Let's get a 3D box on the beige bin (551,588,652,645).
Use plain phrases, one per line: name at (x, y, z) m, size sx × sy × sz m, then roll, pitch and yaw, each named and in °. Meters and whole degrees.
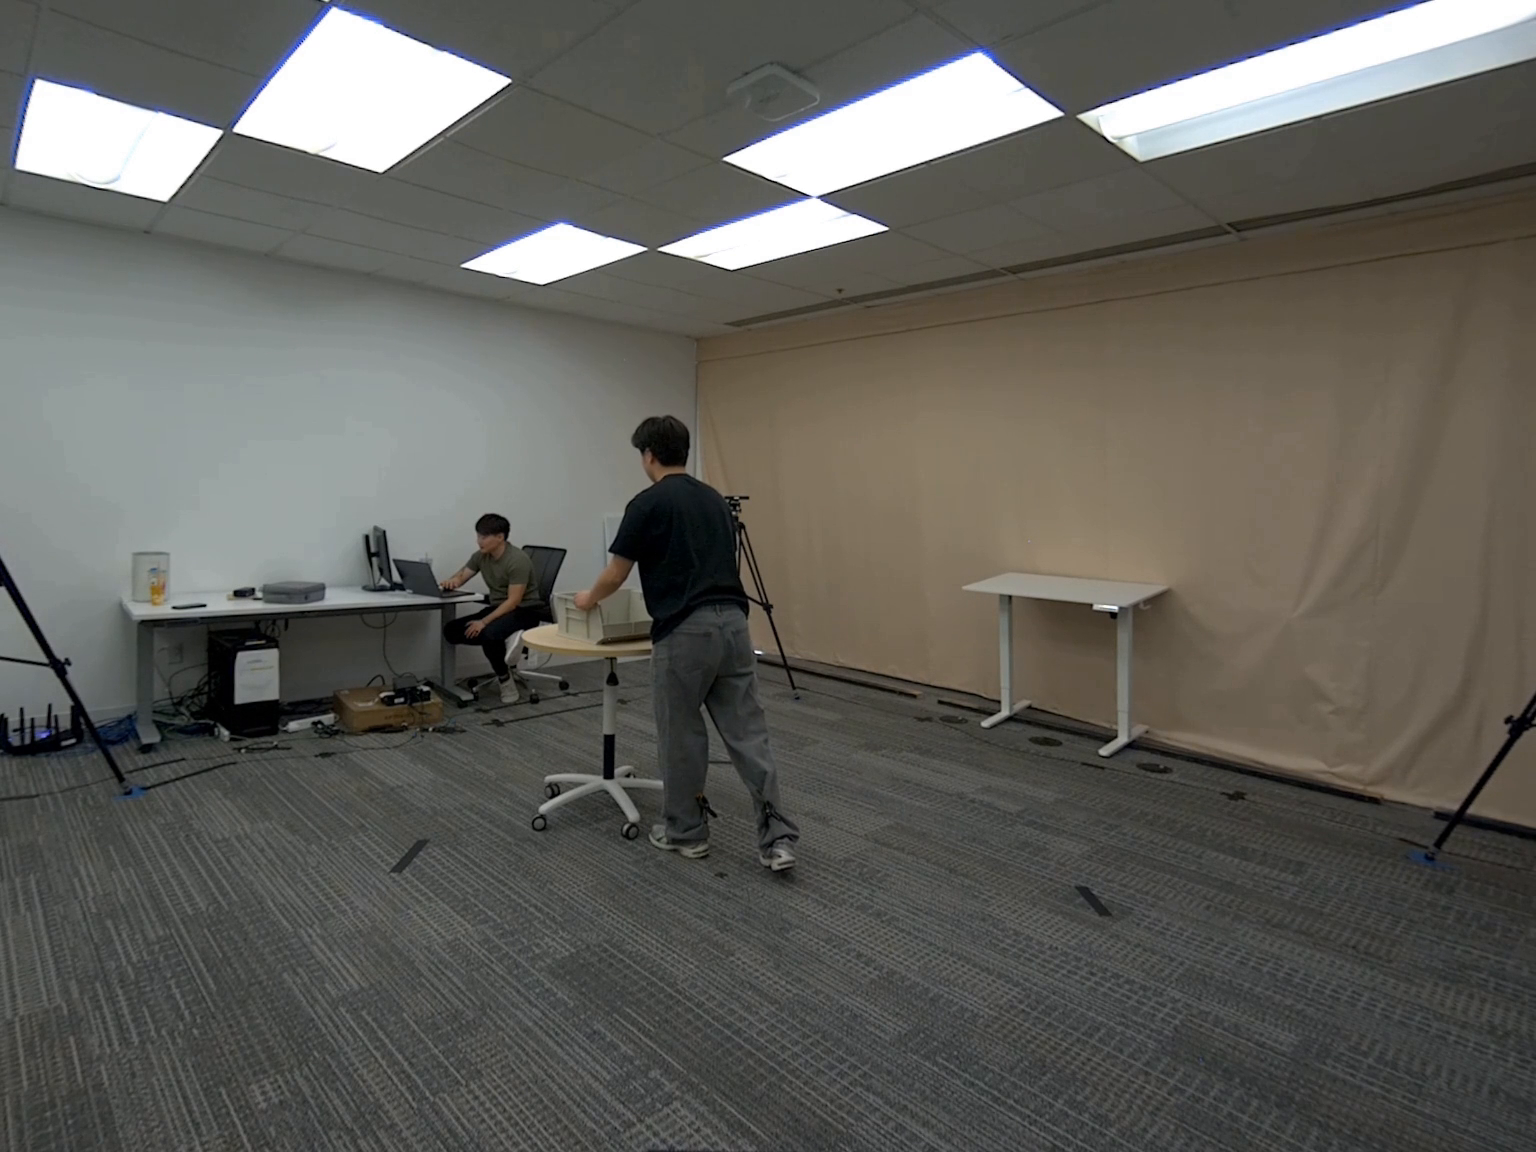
beige bin at (-0.658, 0.172, 3.657) m, size 0.413 × 0.188 × 0.387 m, roll -4°, pitch 7°, yaw -44°
